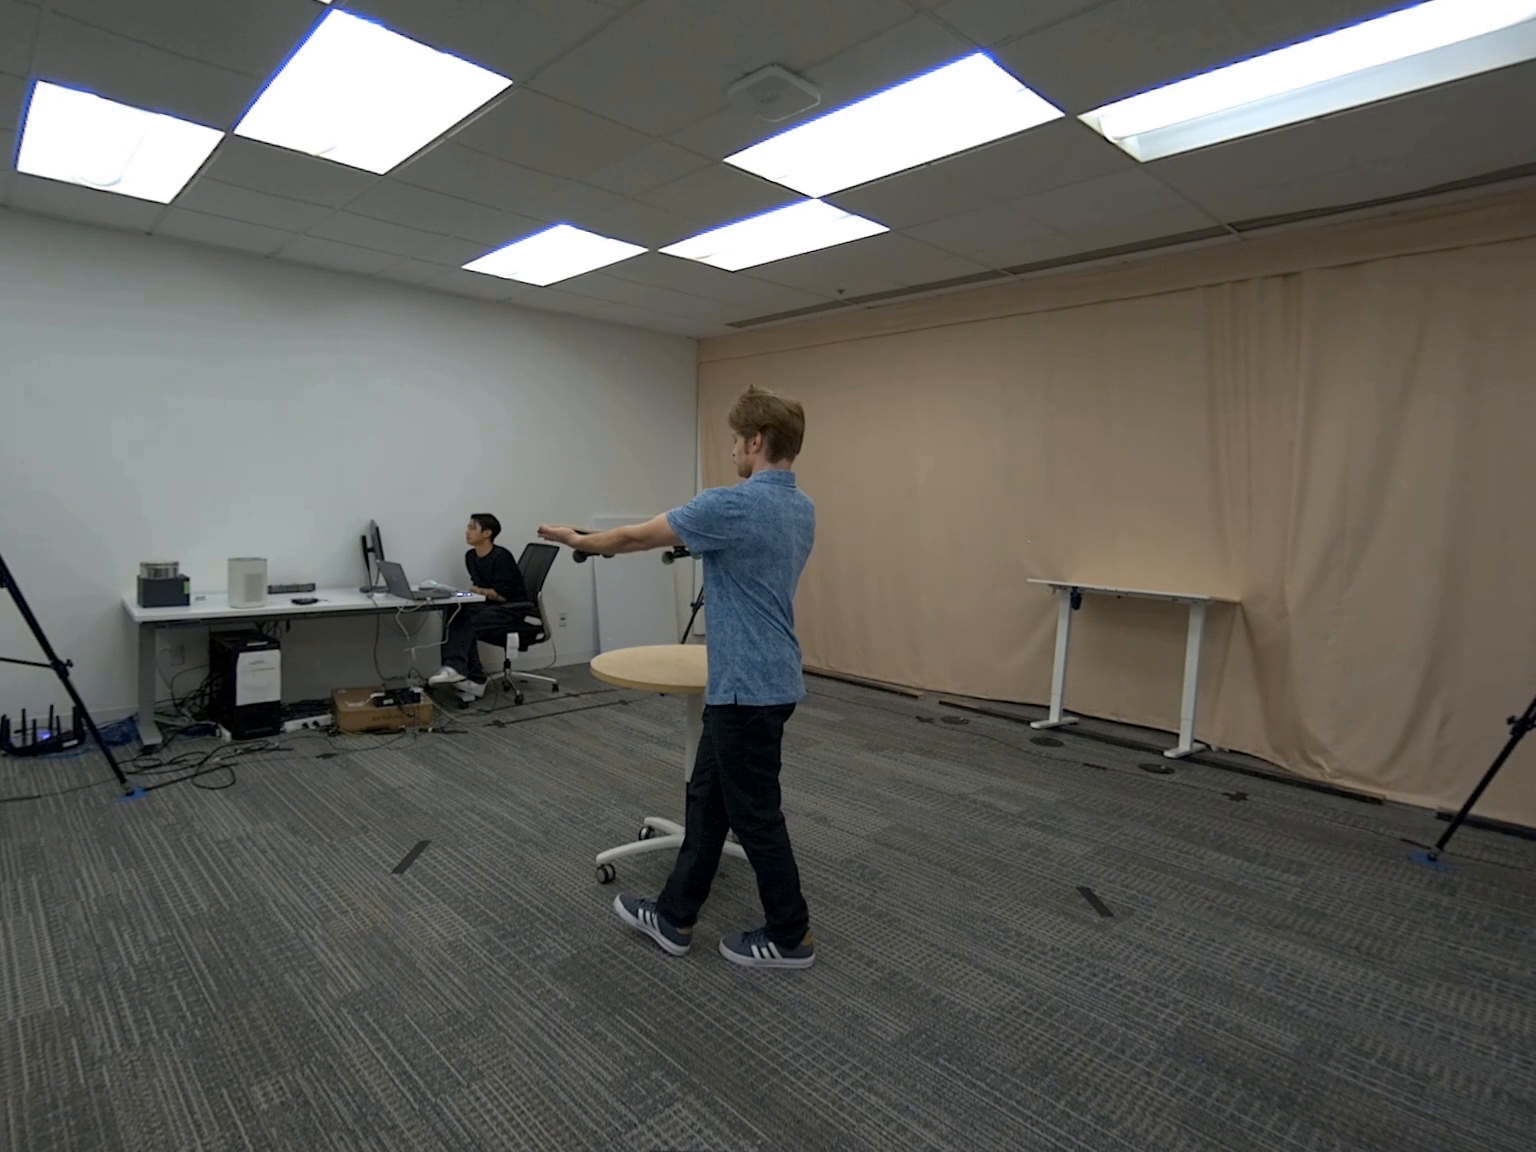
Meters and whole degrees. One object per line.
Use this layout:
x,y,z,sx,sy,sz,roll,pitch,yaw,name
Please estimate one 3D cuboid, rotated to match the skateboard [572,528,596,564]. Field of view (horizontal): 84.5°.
-0.445,-0.104,2.906,0.197,0.111,0.766,-10,-7,43,skateboard
